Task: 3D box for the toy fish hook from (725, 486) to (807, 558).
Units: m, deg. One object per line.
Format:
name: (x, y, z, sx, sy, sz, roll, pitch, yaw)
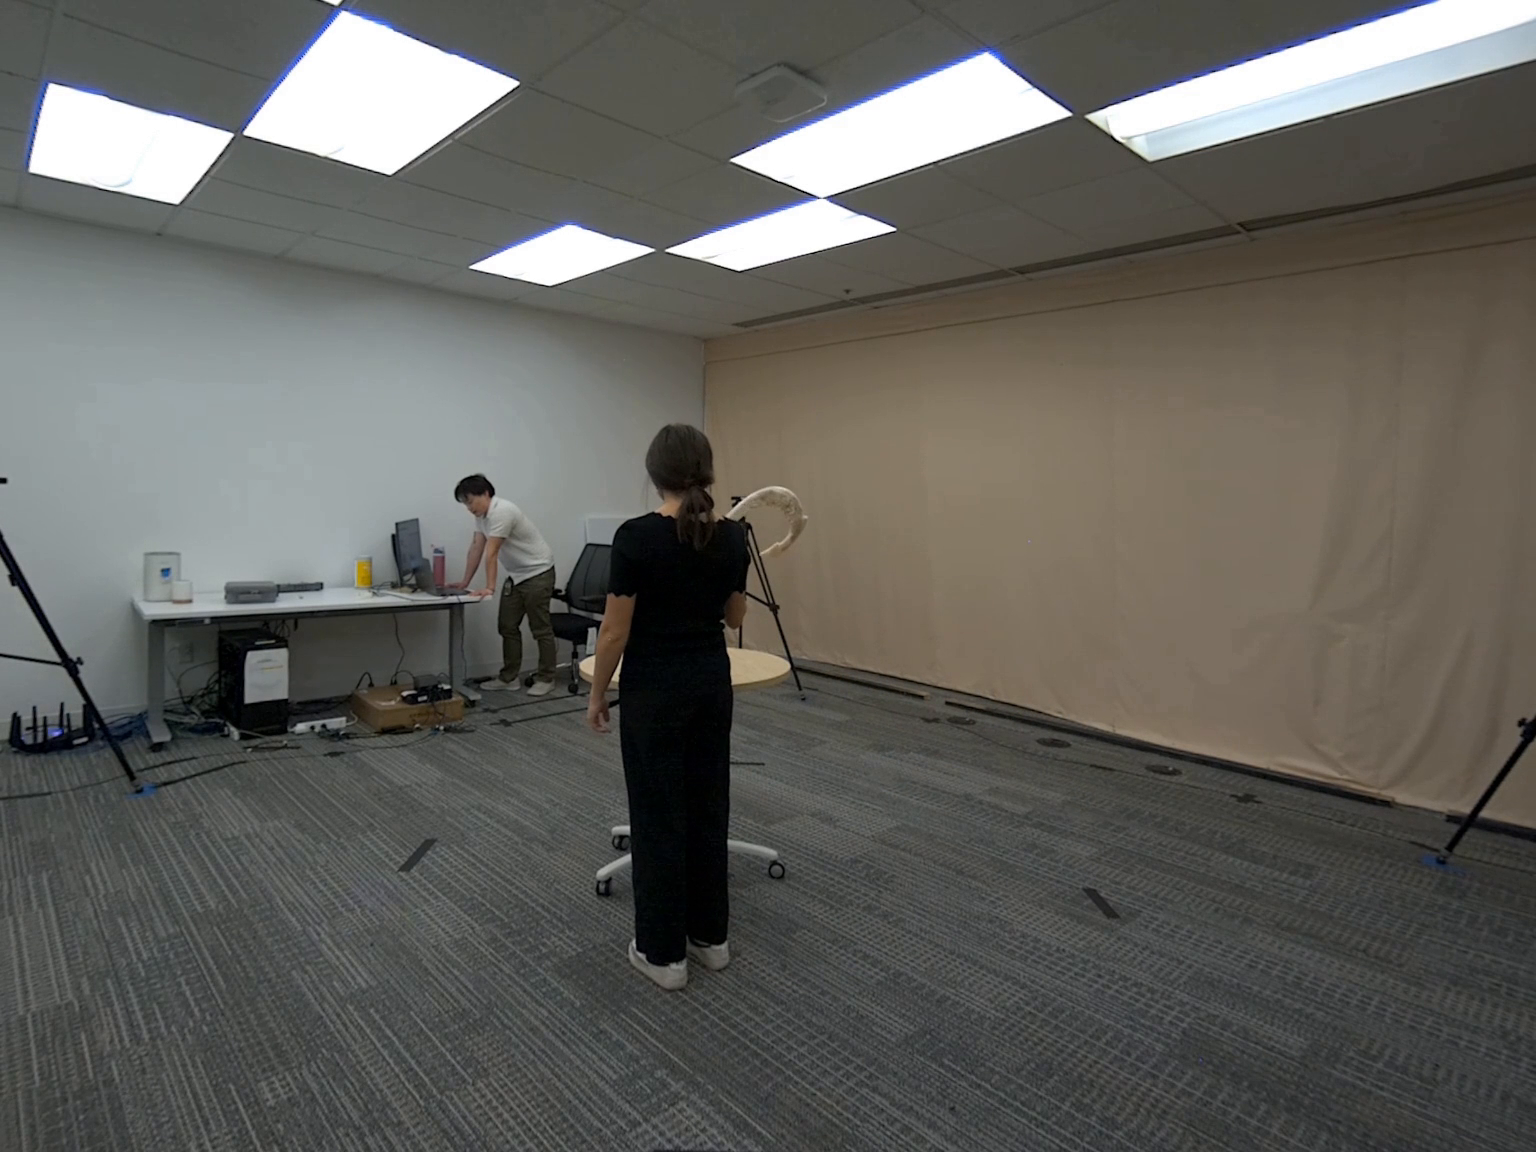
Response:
toy fish hook: (-0.127, -0.107, 2.759, 0.507, 0.222, 0.048, -28, 9, 5)
